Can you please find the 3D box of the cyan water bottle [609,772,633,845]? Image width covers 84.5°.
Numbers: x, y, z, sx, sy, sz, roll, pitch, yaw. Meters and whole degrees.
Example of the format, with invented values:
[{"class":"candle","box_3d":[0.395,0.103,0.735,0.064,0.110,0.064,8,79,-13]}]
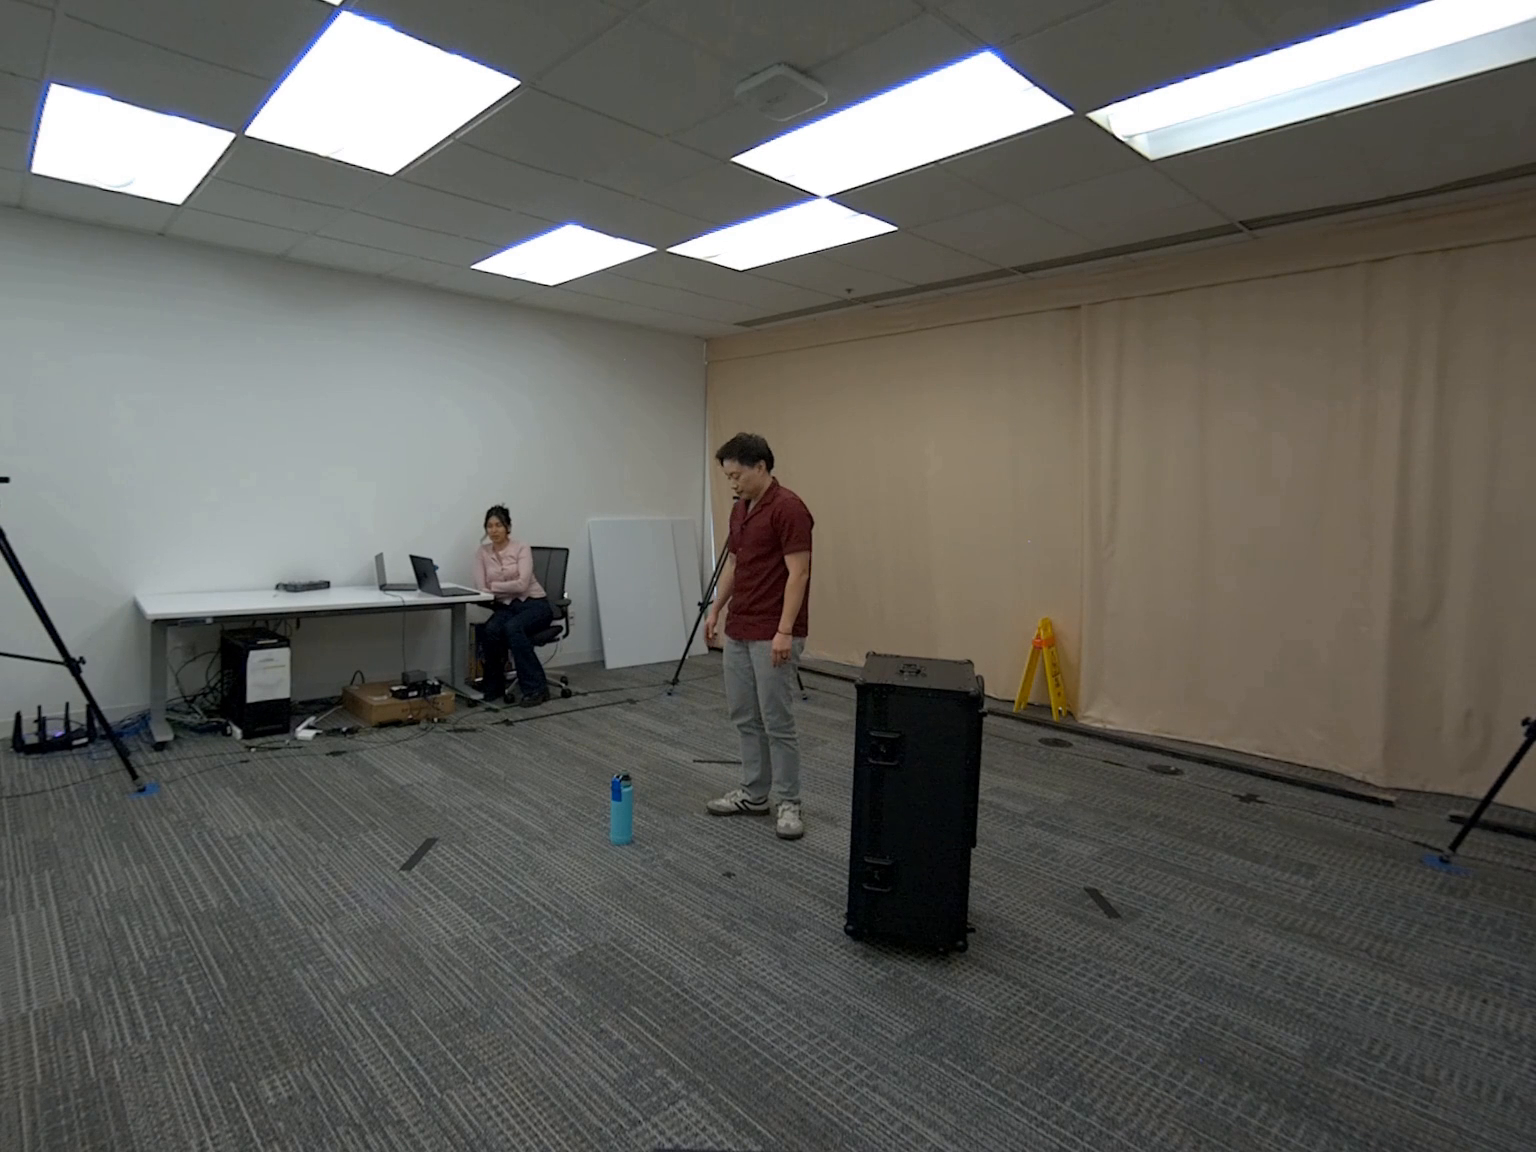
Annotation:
[{"class":"cyan water bottle","box_3d":[-0.599,0.928,3.381,0.092,0.282,0.092,2,4,-2]}]
